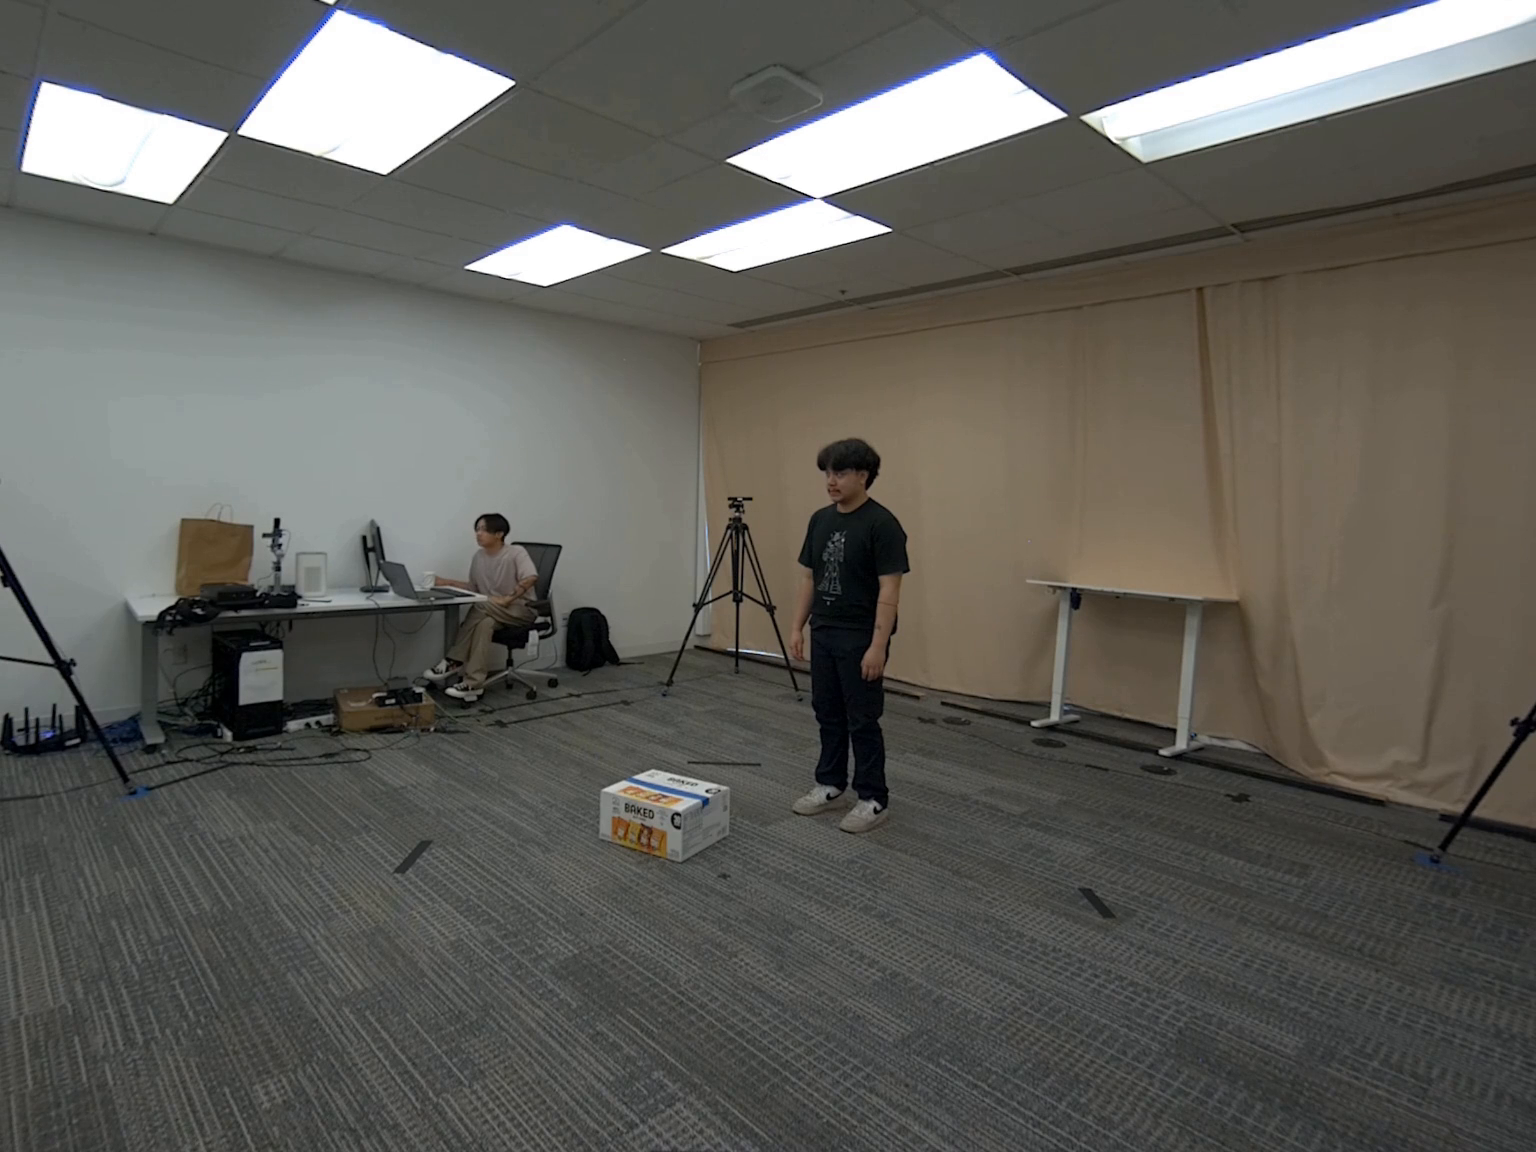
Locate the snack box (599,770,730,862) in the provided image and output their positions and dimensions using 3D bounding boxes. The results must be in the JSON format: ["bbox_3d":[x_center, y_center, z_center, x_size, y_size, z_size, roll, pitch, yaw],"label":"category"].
[{"bbox_3d":[-0.427,0.968,3.438,0.414,0.205,0.333,4,5,31],"label":"snack box"}]
